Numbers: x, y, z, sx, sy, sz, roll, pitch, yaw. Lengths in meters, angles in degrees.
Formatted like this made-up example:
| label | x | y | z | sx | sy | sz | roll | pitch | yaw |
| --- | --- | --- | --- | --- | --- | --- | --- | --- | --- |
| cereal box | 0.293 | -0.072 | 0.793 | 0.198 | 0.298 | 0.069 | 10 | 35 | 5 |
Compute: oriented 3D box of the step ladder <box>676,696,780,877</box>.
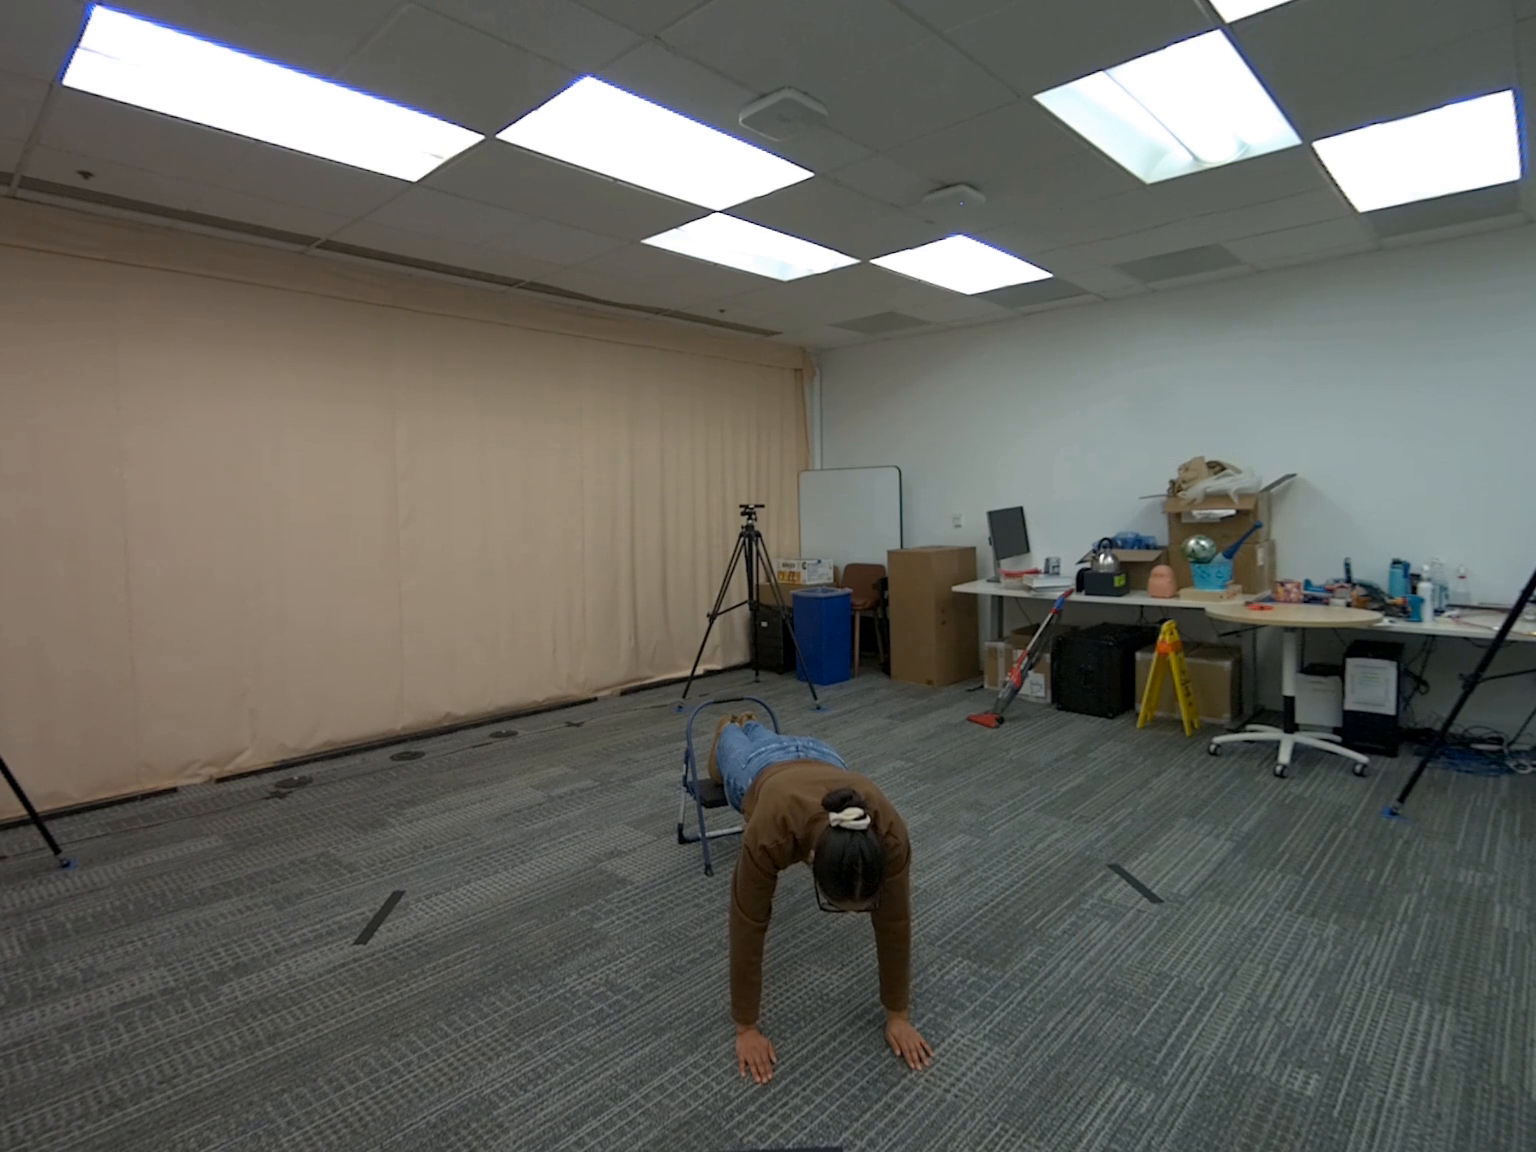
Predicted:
| label | x | y | z | sx | sy | sz | roll | pitch | yaw |
| --- | --- | --- | --- | --- | --- | --- | --- | --- | --- |
| step ladder | -0.119 | 0.806 | 3.392 | 0.420 | 0.605 | 0.358 | -3 | 4 | -25 |
